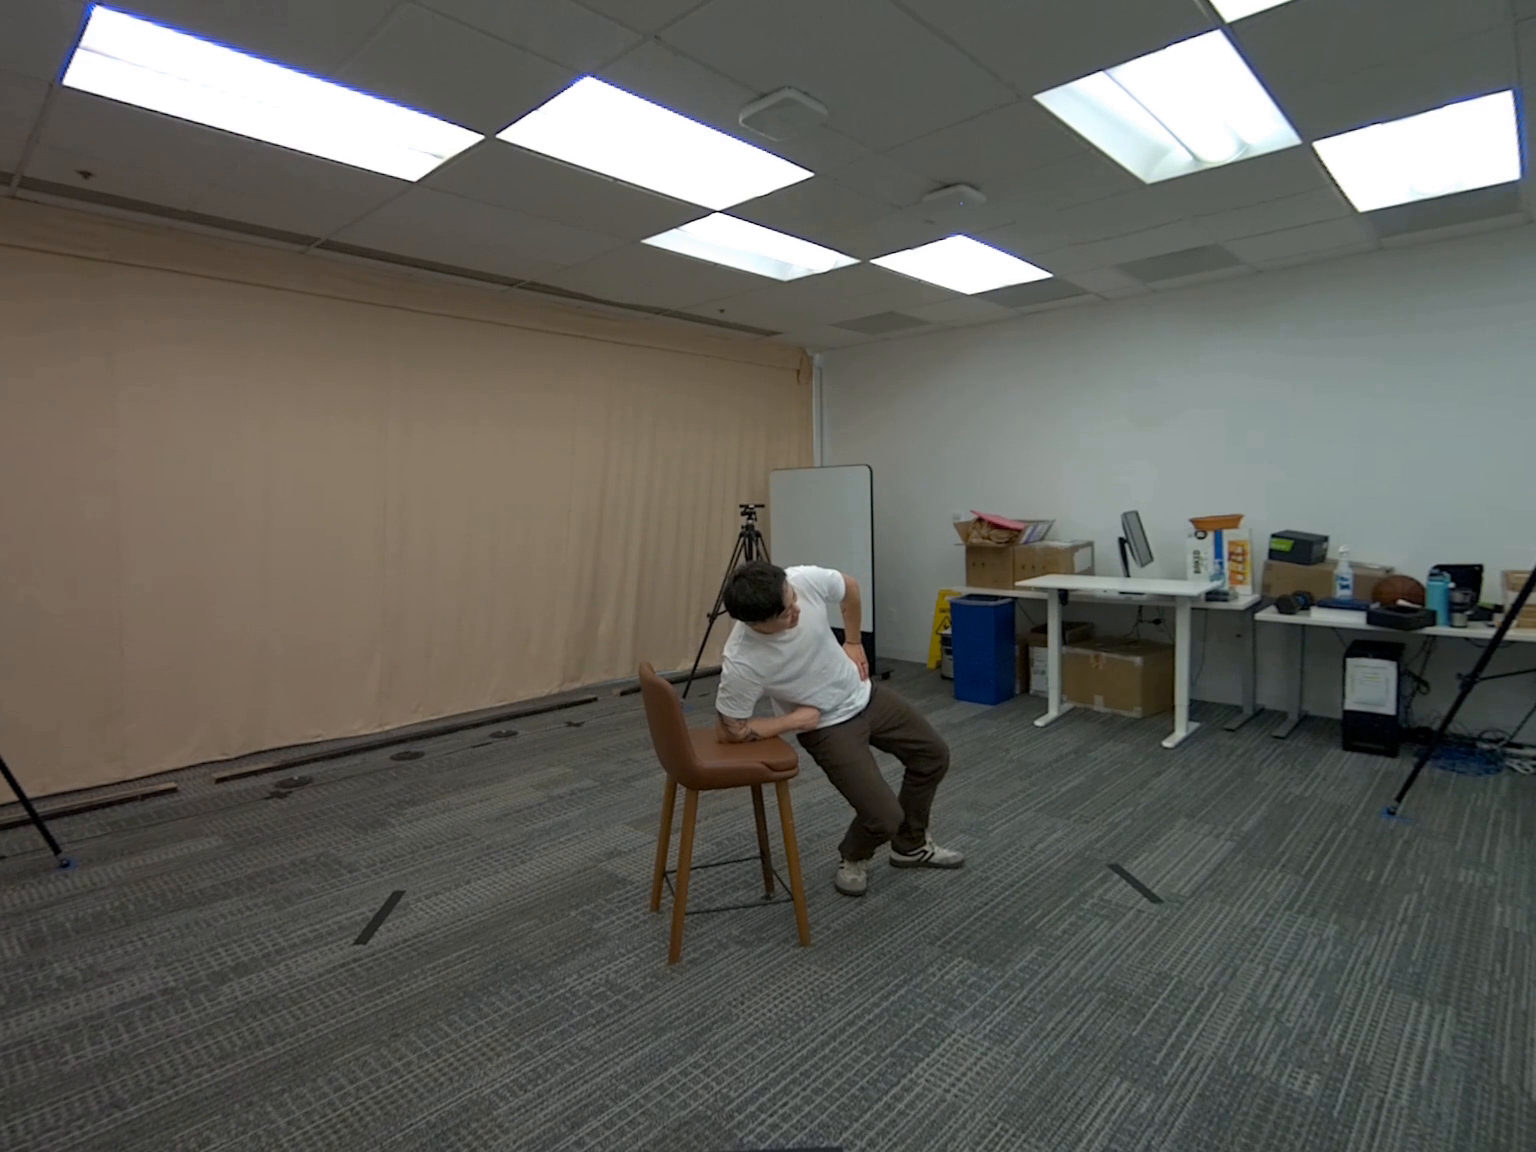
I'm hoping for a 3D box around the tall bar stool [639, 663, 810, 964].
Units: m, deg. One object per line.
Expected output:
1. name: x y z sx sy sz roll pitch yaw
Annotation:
1. tall bar stool: -0.149 0.726 2.763 0.460 0.888 0.465 -3 4 -16
